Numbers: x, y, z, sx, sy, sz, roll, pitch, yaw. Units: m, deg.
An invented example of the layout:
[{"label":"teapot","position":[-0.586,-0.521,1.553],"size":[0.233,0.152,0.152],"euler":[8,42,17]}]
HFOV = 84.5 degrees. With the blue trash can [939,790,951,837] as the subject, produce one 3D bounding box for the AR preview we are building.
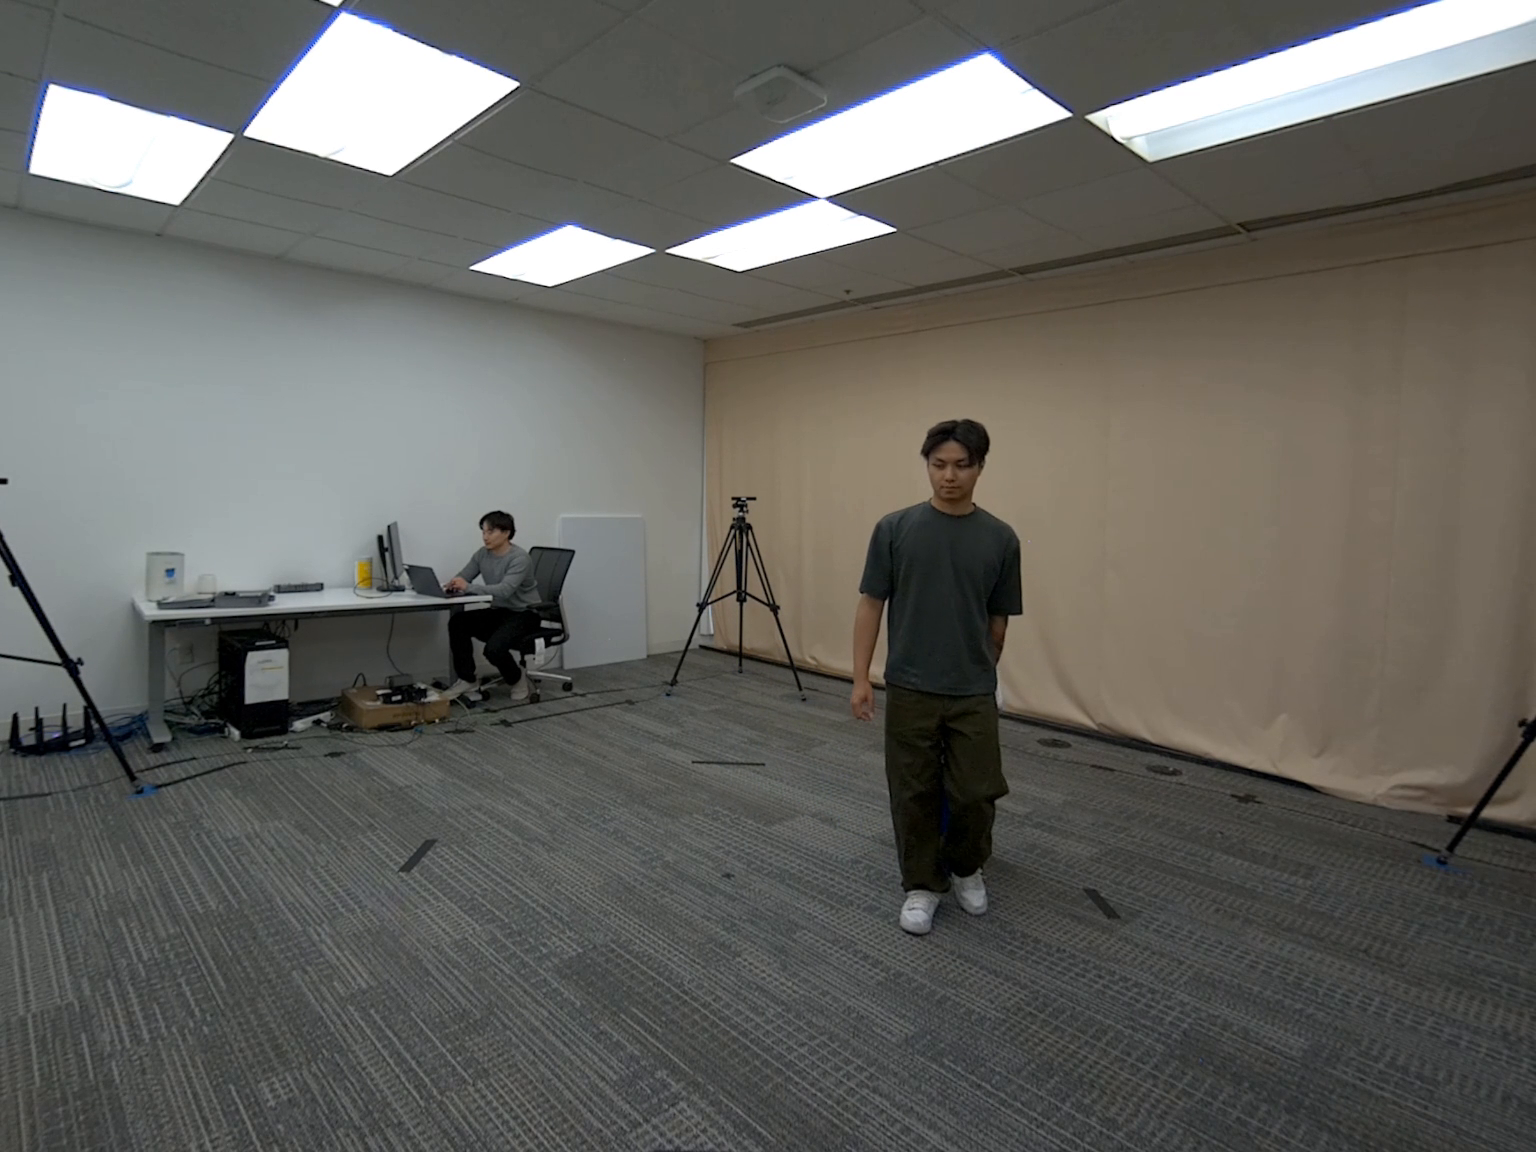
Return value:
[{"label":"blue trash can","position":[0.683,0.742,3.212],"size":[0.379,0.706,0.377],"euler":[2,14,15]}]
